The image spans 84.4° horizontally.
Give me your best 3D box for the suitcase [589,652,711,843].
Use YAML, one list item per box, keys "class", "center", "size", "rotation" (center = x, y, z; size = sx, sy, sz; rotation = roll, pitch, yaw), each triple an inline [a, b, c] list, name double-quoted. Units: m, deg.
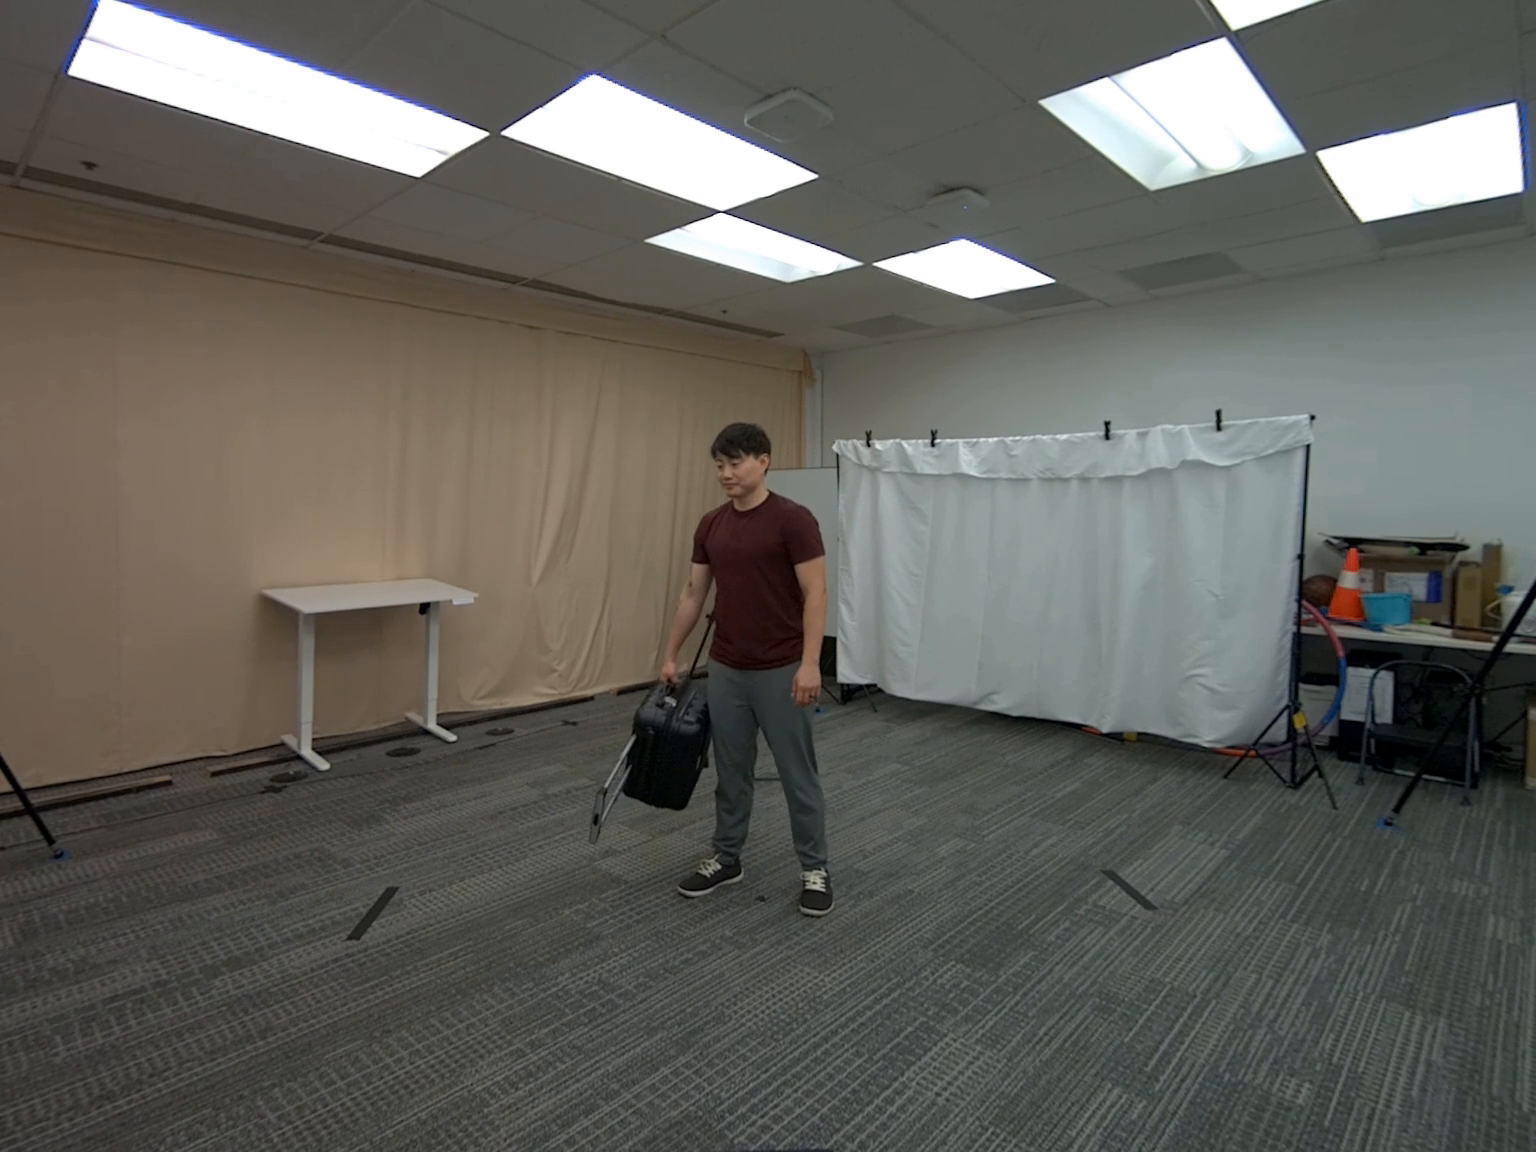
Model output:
- class: "suitcase"
  center: [-0.365, 0.627, 2.926]
  size: [0.258, 0.382, 0.978]
  rotation: [11, 9, 1]
